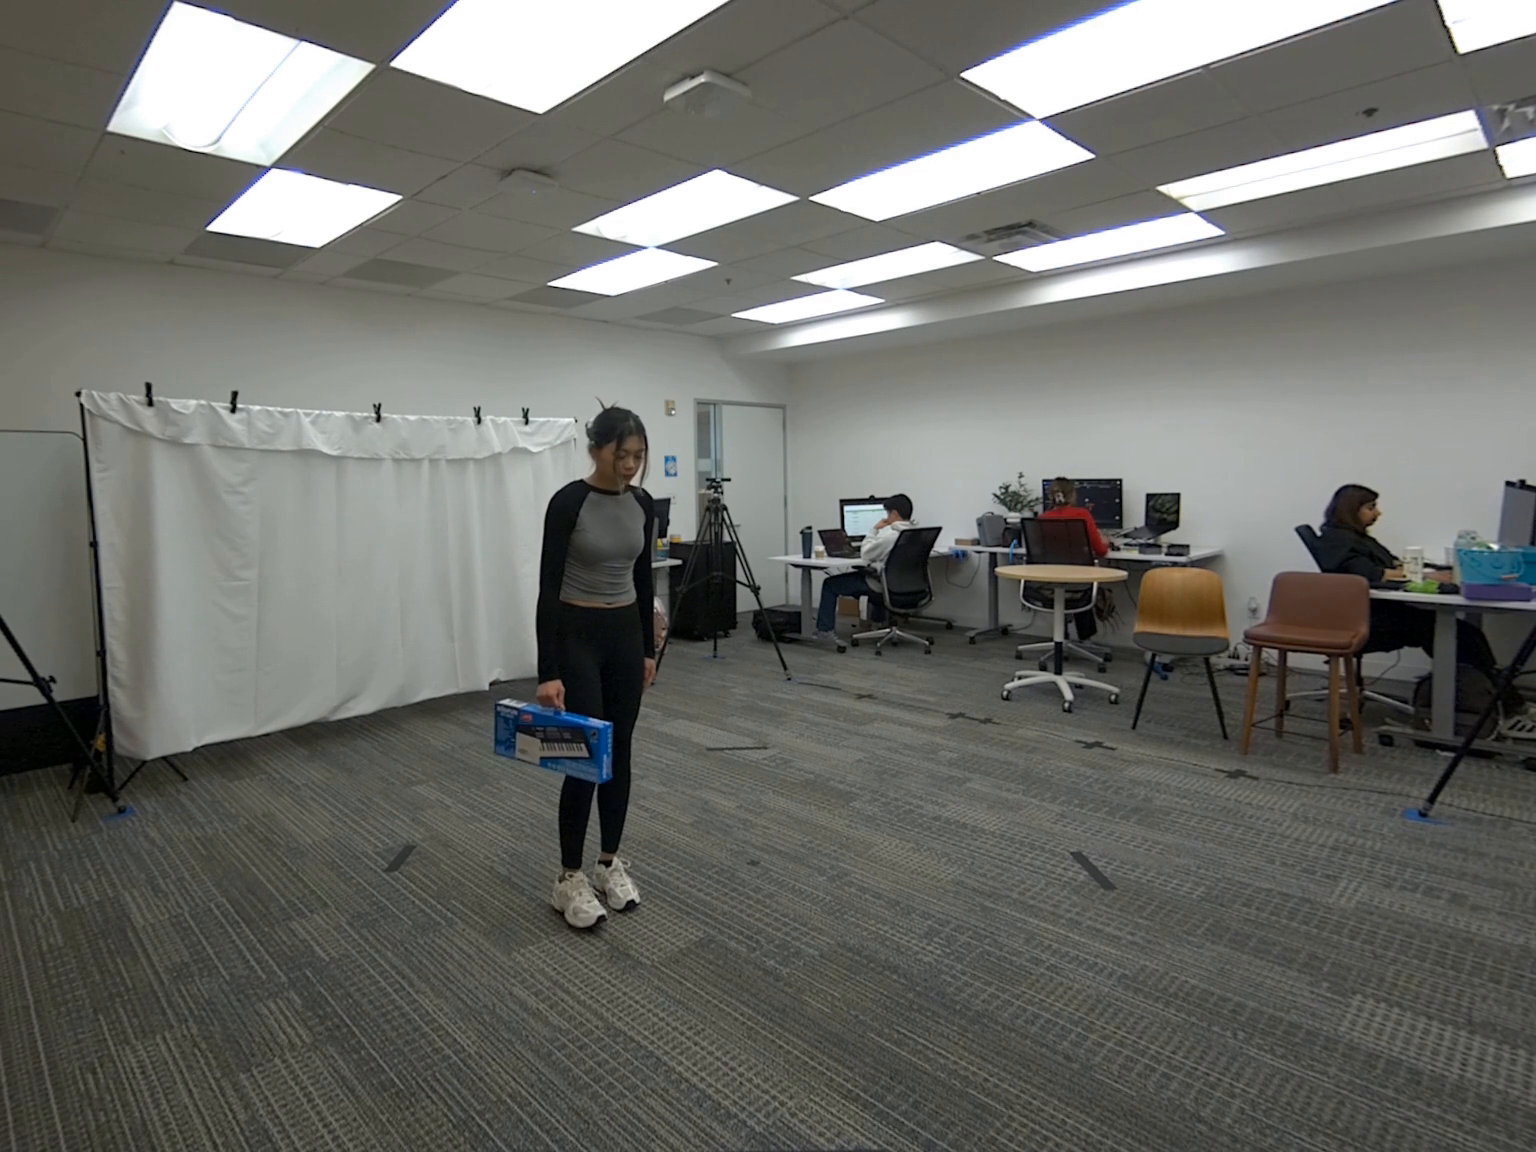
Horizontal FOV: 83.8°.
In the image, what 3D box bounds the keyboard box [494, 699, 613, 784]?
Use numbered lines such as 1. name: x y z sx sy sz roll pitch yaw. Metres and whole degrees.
1. keyboard box: -0.672 0.510 2.661 0.449 0.175 0.058 6 7 30
